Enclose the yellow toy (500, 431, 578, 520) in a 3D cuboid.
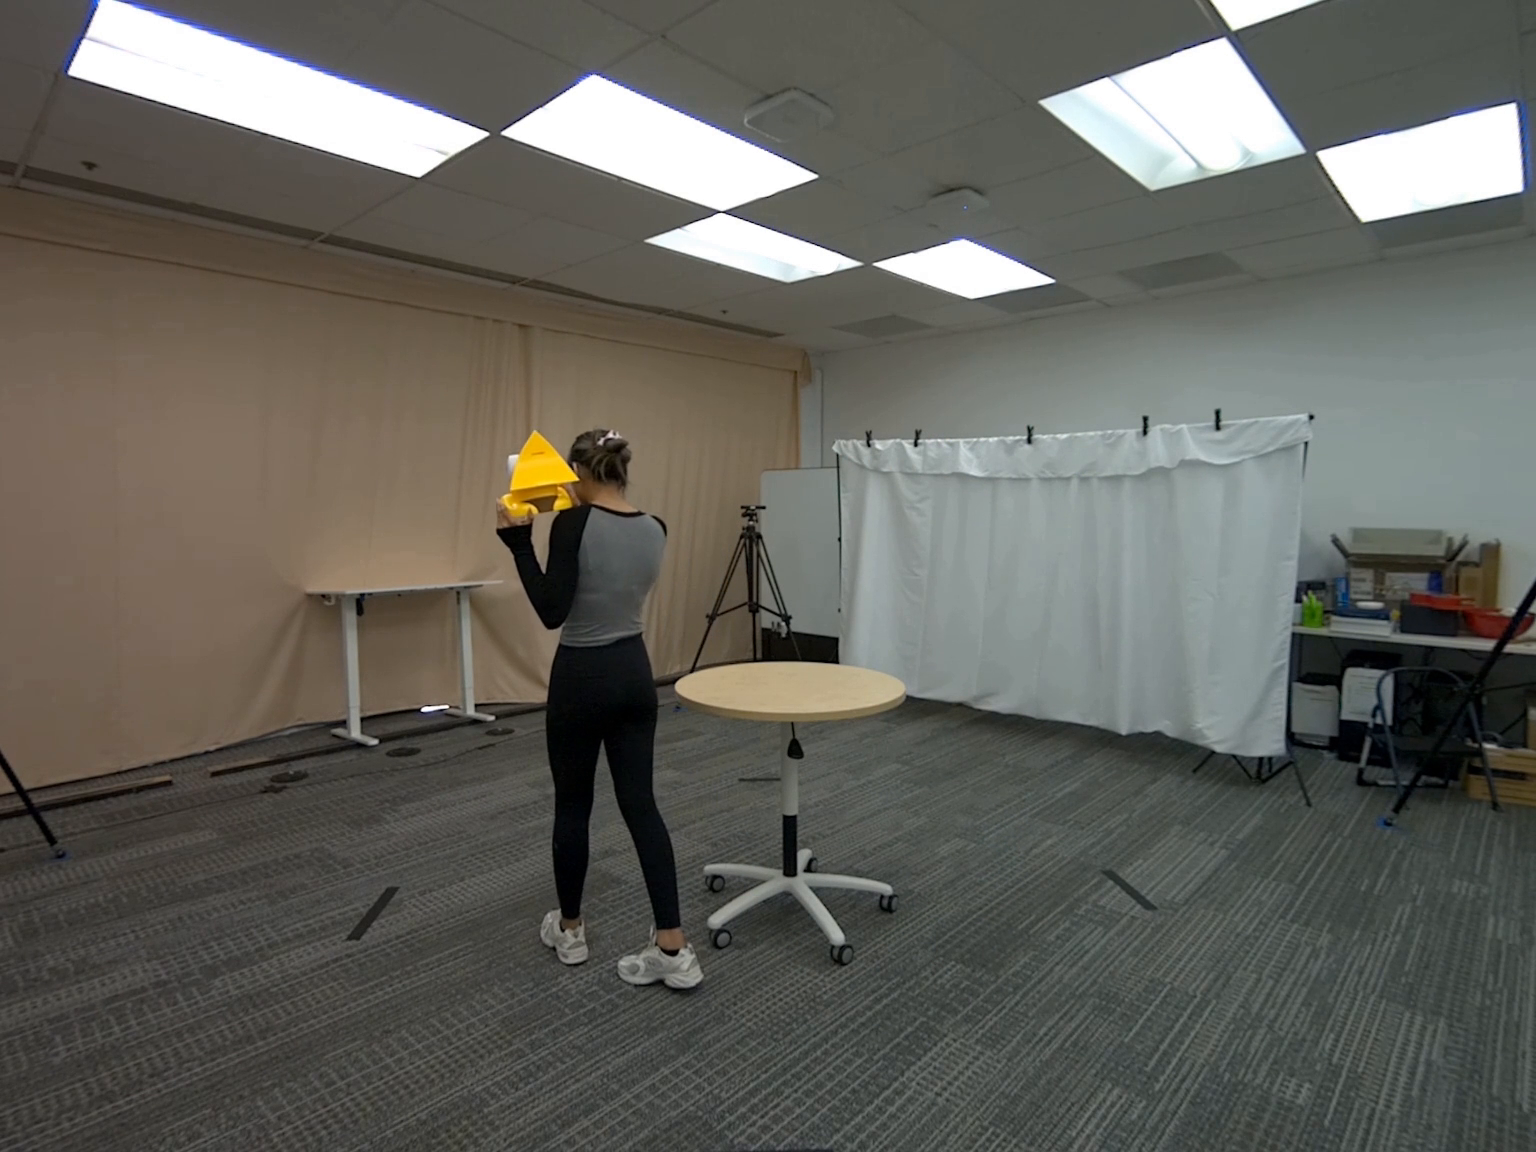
[{"bbox_3d":[-0.673,-0.301,2.412,0.200,0.228,0.199,-14,16,-34],"label":"yellow toy"}]
